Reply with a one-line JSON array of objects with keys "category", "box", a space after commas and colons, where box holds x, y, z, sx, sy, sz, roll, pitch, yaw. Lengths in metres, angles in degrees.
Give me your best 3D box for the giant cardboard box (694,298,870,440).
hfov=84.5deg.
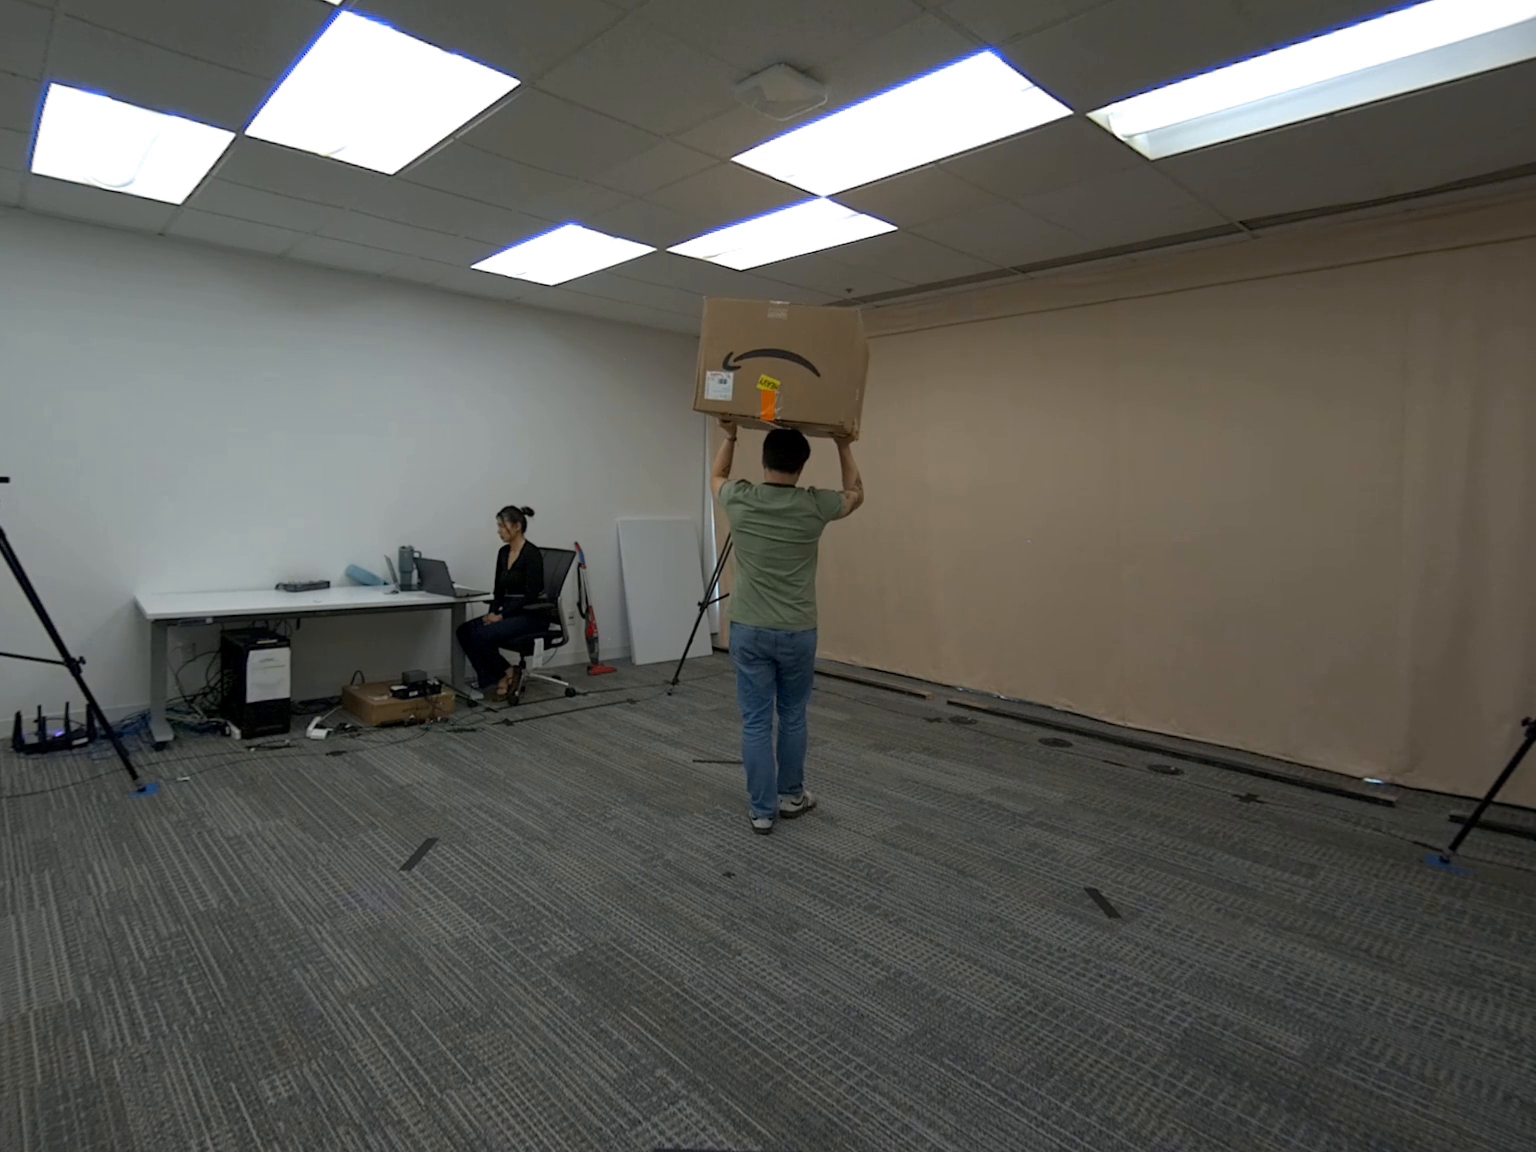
[{"category": "giant cardboard box", "box": [0.091, -0.842, 3.575, 0.582, 0.424, 1.021, 8, 7, 8]}]
